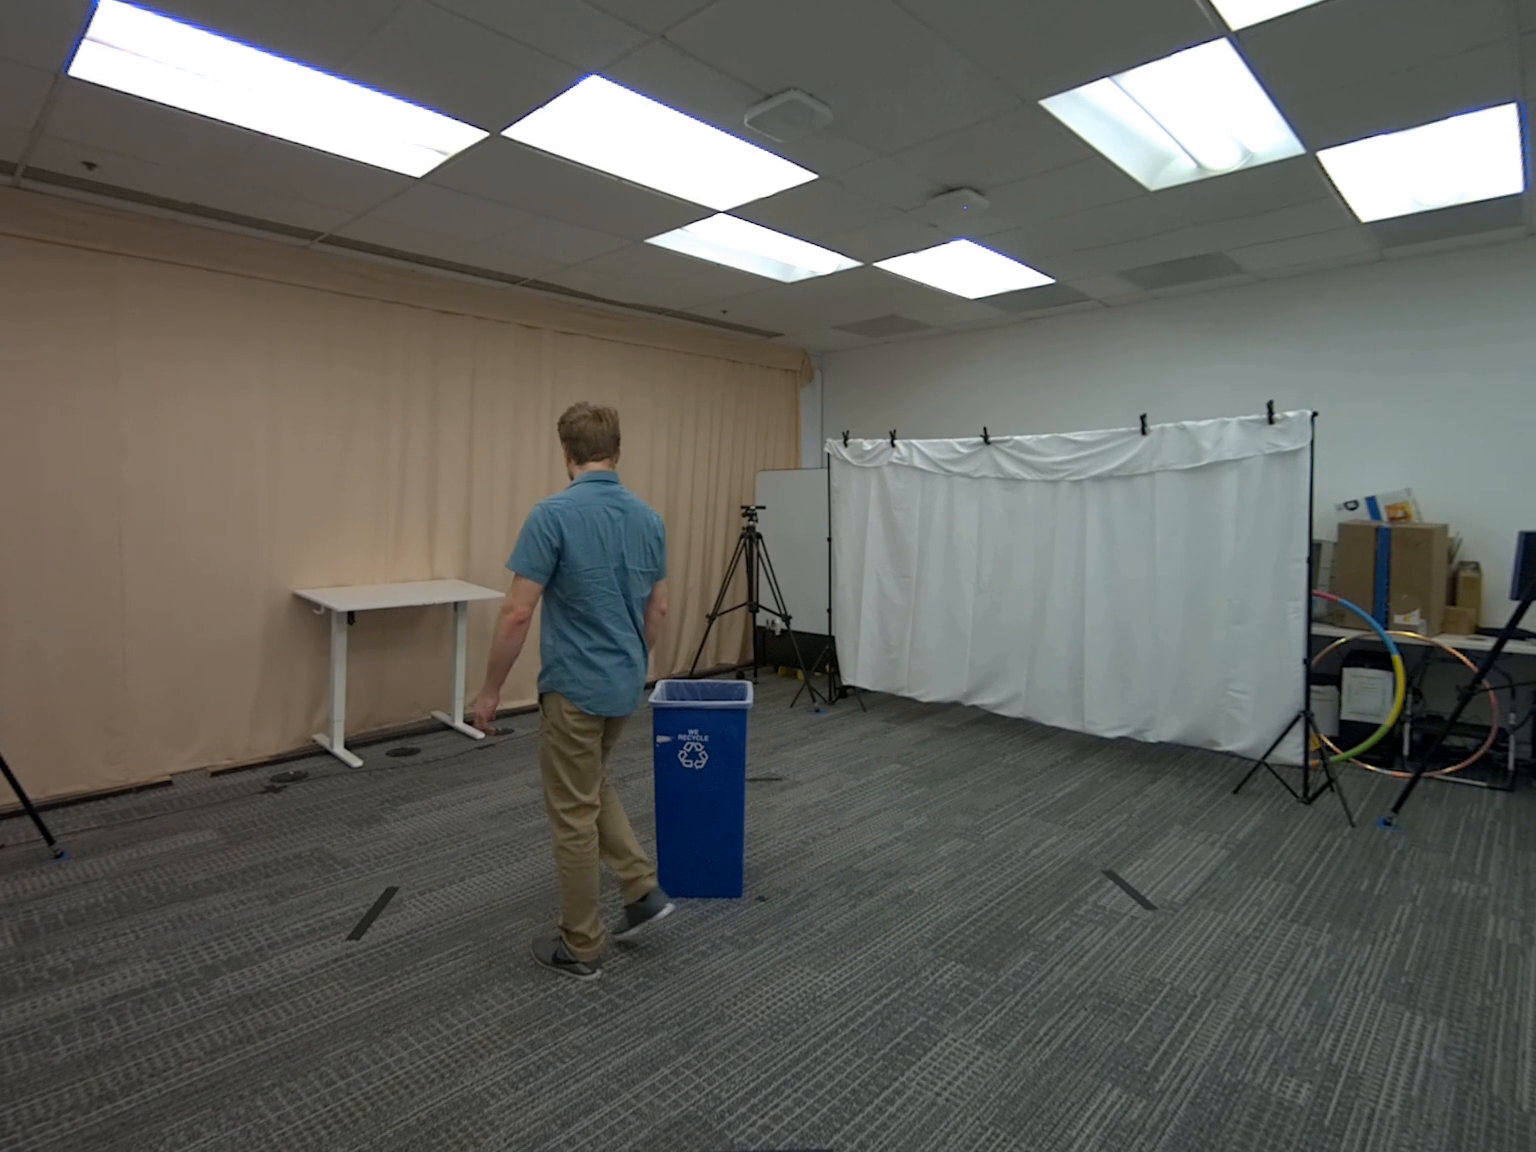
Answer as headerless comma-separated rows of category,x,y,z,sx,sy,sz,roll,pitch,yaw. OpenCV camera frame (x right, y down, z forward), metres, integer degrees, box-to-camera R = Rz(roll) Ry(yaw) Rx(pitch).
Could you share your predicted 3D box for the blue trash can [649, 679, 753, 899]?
blue trash can,-0.240,0.779,3.113,0.378,0.712,0.374,0,3,0
